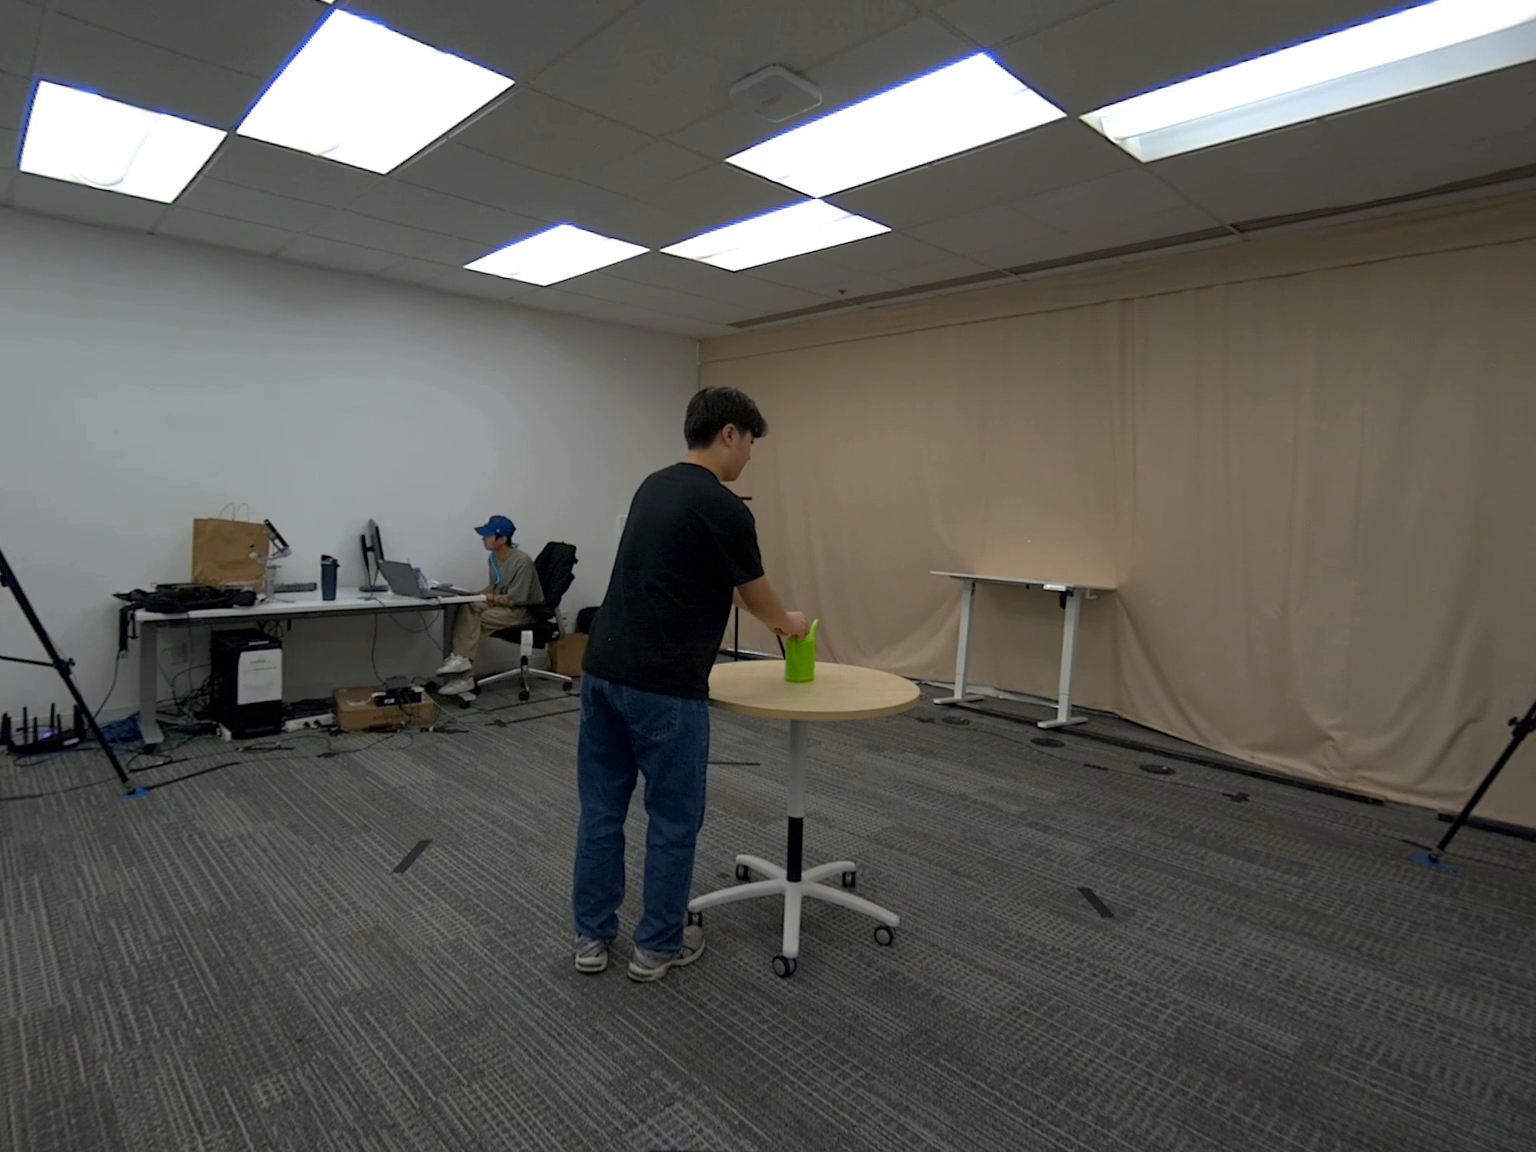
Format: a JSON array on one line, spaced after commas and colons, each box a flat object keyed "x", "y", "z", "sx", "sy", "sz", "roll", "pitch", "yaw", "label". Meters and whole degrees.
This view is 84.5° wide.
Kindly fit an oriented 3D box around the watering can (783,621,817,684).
[{"x": 0.124, "y": 0.257, "z": 2.833, "sx": 0.100, "sy": 0.176, "sz": 0.273, "roll": 4, "pitch": 7, "yaw": 32, "label": "watering can"}]
